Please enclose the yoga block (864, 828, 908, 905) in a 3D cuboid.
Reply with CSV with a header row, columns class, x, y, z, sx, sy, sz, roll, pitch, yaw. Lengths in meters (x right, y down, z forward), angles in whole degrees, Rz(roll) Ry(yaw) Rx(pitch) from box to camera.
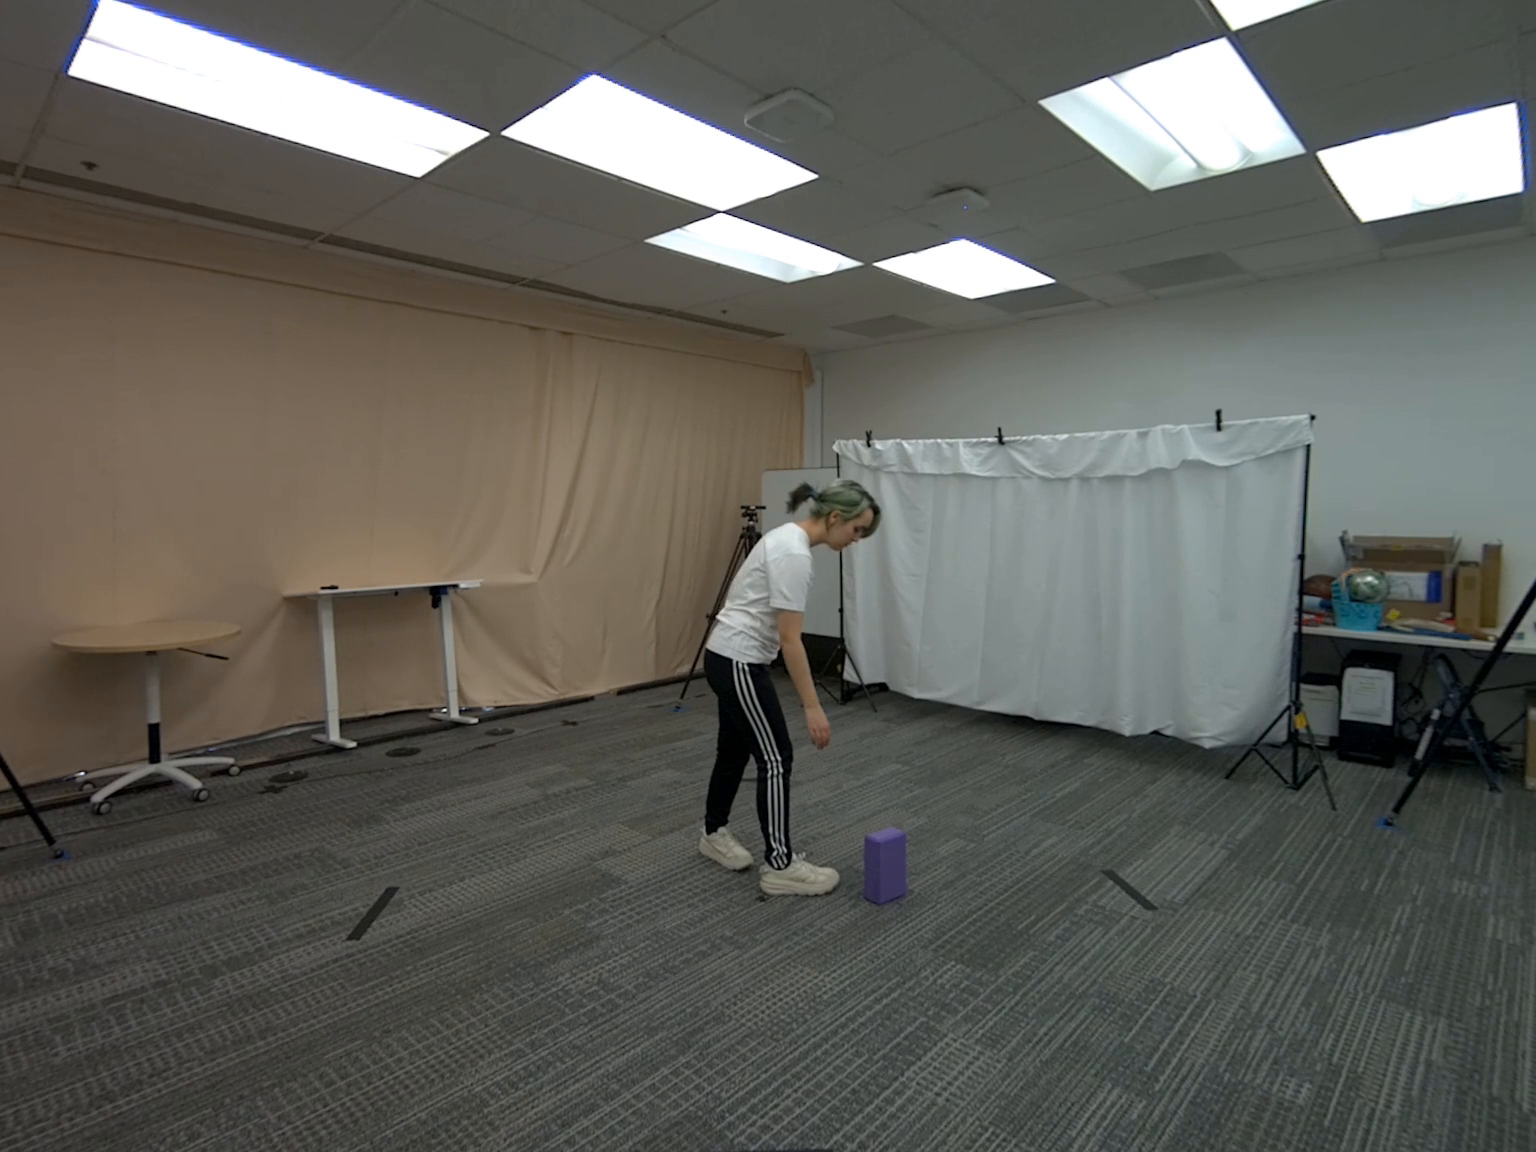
class,x,y,z,sx,sy,sz,roll,pitch,yaw
yoga block,0.426,1.027,2.982,0.145,0.229,0.079,-1,3,-33
